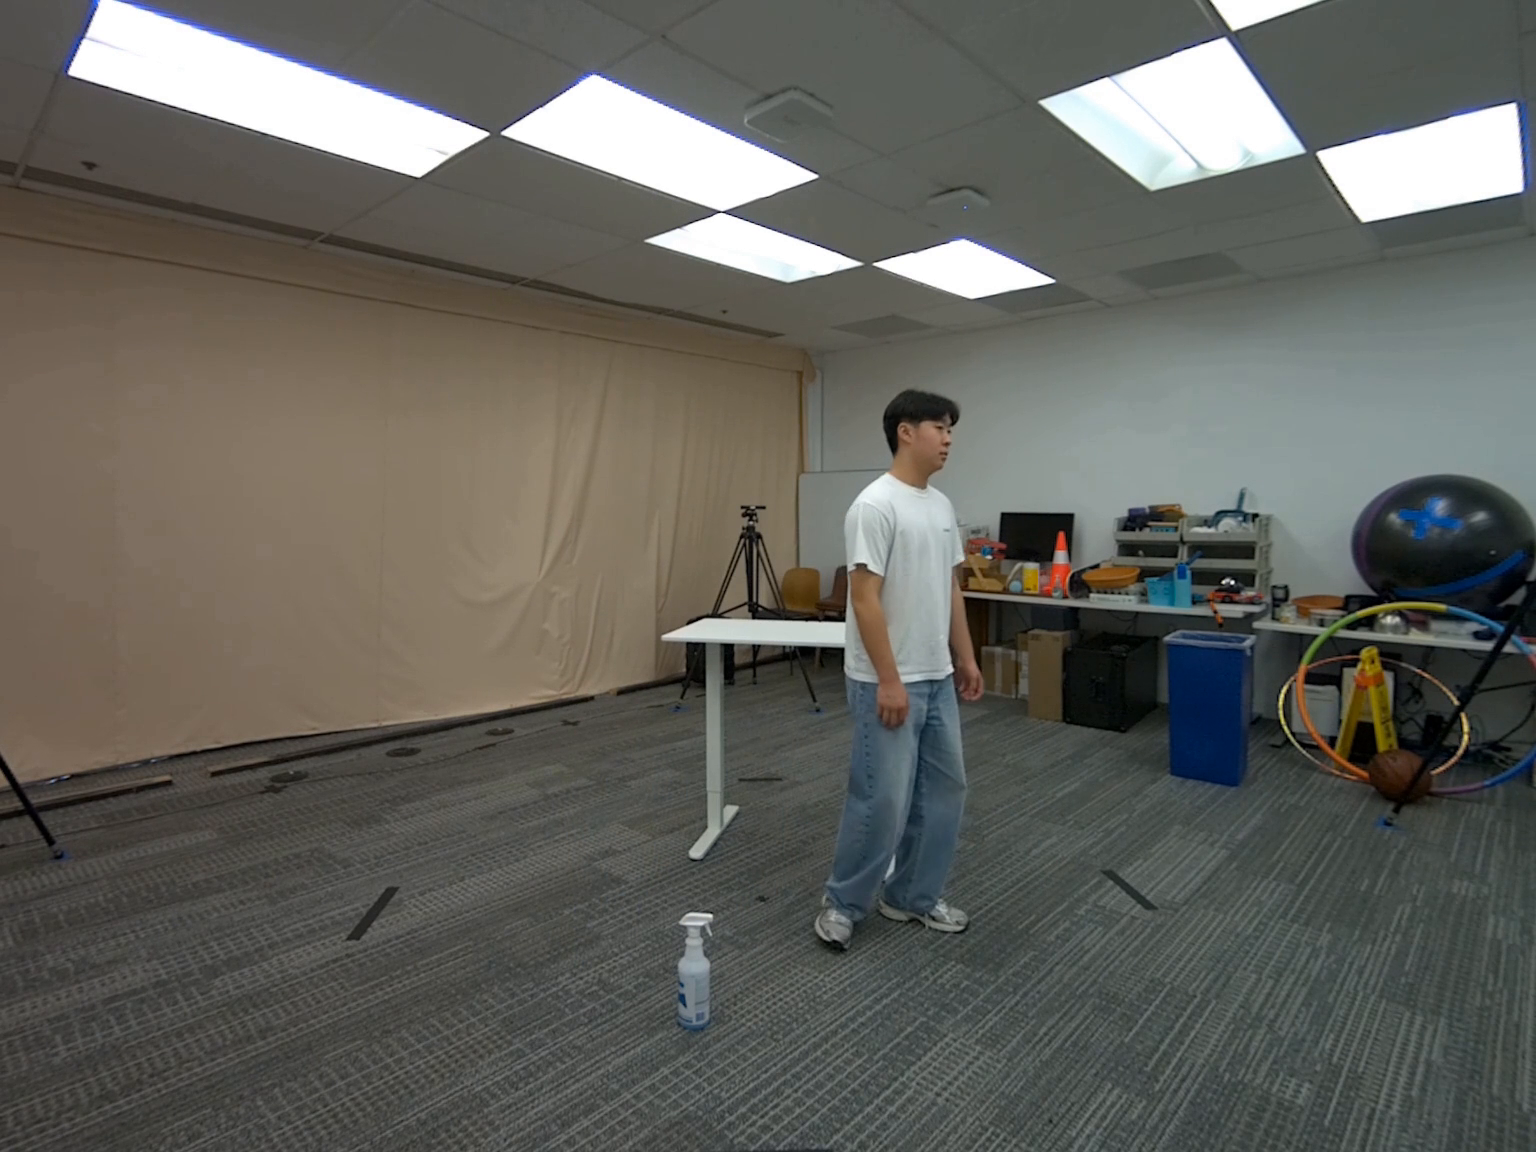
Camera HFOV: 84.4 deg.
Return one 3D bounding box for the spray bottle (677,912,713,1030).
[{"bbox_3d":[-0.190,1.056,2.282,0.093,0.297,0.084,1,-1,32],"label":"spray bottle"}]
